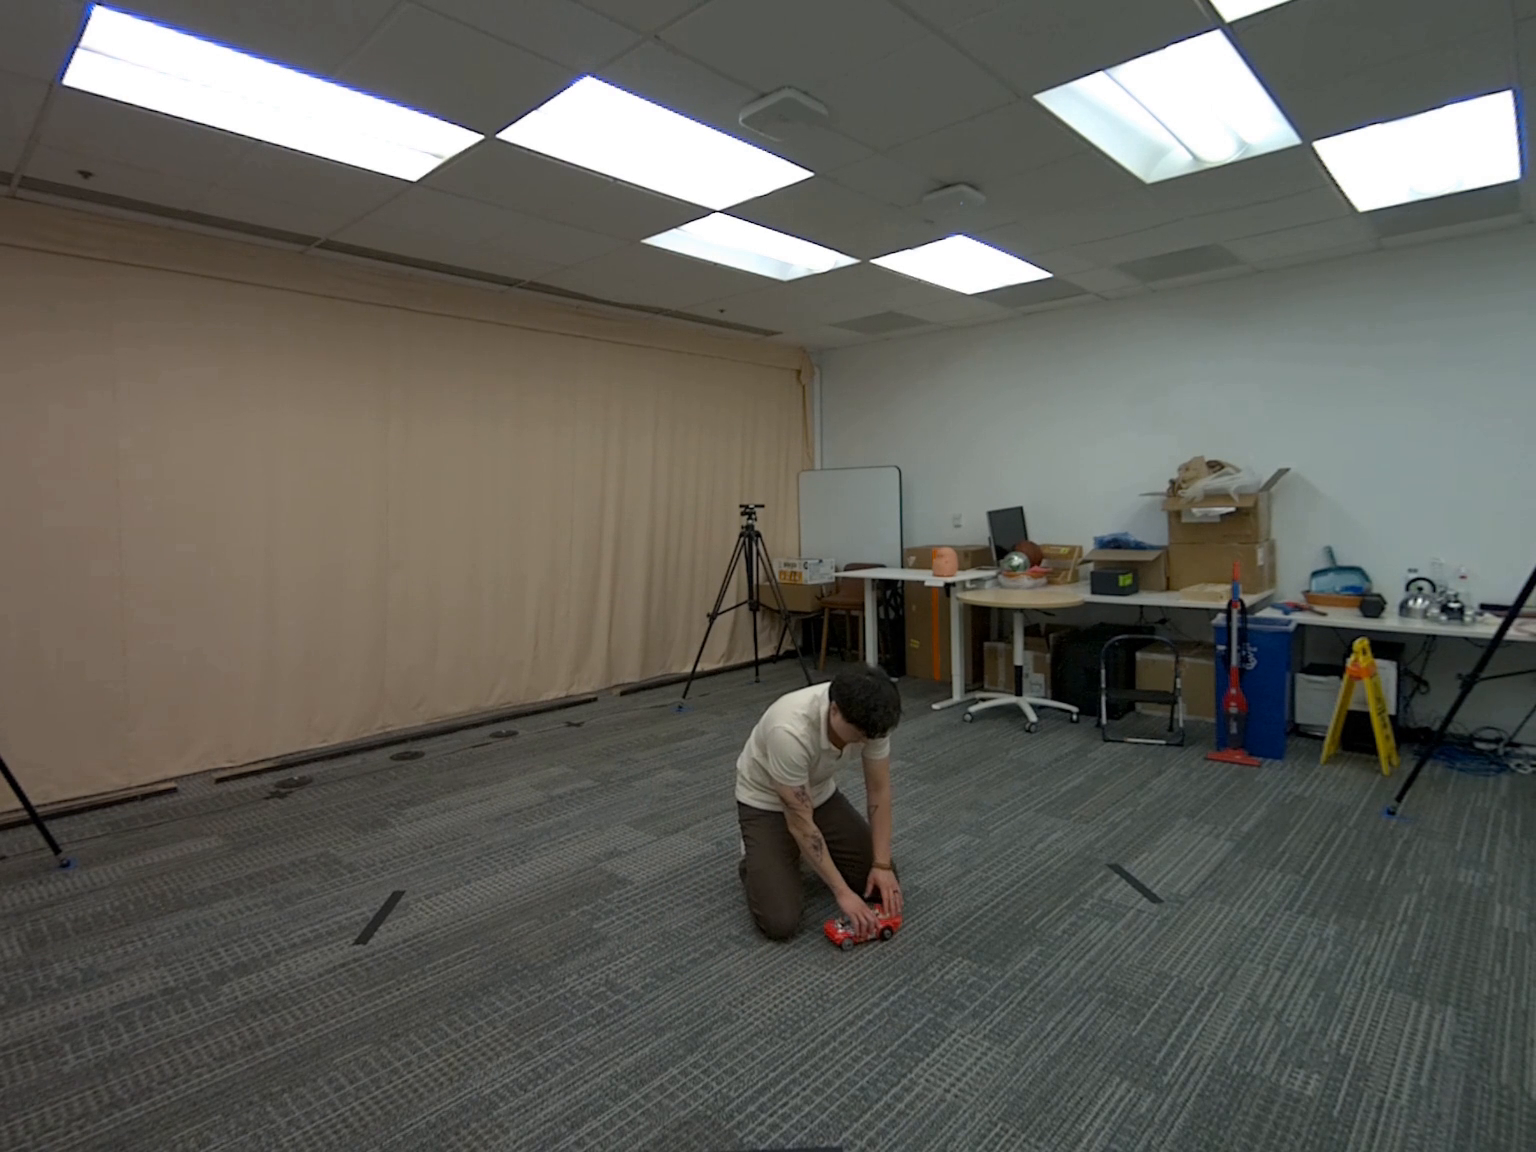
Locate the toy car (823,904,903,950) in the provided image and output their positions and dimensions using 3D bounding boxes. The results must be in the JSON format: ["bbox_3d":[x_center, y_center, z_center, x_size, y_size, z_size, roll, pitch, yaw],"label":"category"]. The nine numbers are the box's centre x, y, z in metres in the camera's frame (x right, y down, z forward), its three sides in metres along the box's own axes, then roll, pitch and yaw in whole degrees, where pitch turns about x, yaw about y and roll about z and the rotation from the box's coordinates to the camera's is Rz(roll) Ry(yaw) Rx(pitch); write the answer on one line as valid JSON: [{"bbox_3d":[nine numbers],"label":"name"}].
[{"bbox_3d":[0.308,1.122,2.701,0.250,0.083,0.133,-15,8,-19],"label":"toy car"}]
